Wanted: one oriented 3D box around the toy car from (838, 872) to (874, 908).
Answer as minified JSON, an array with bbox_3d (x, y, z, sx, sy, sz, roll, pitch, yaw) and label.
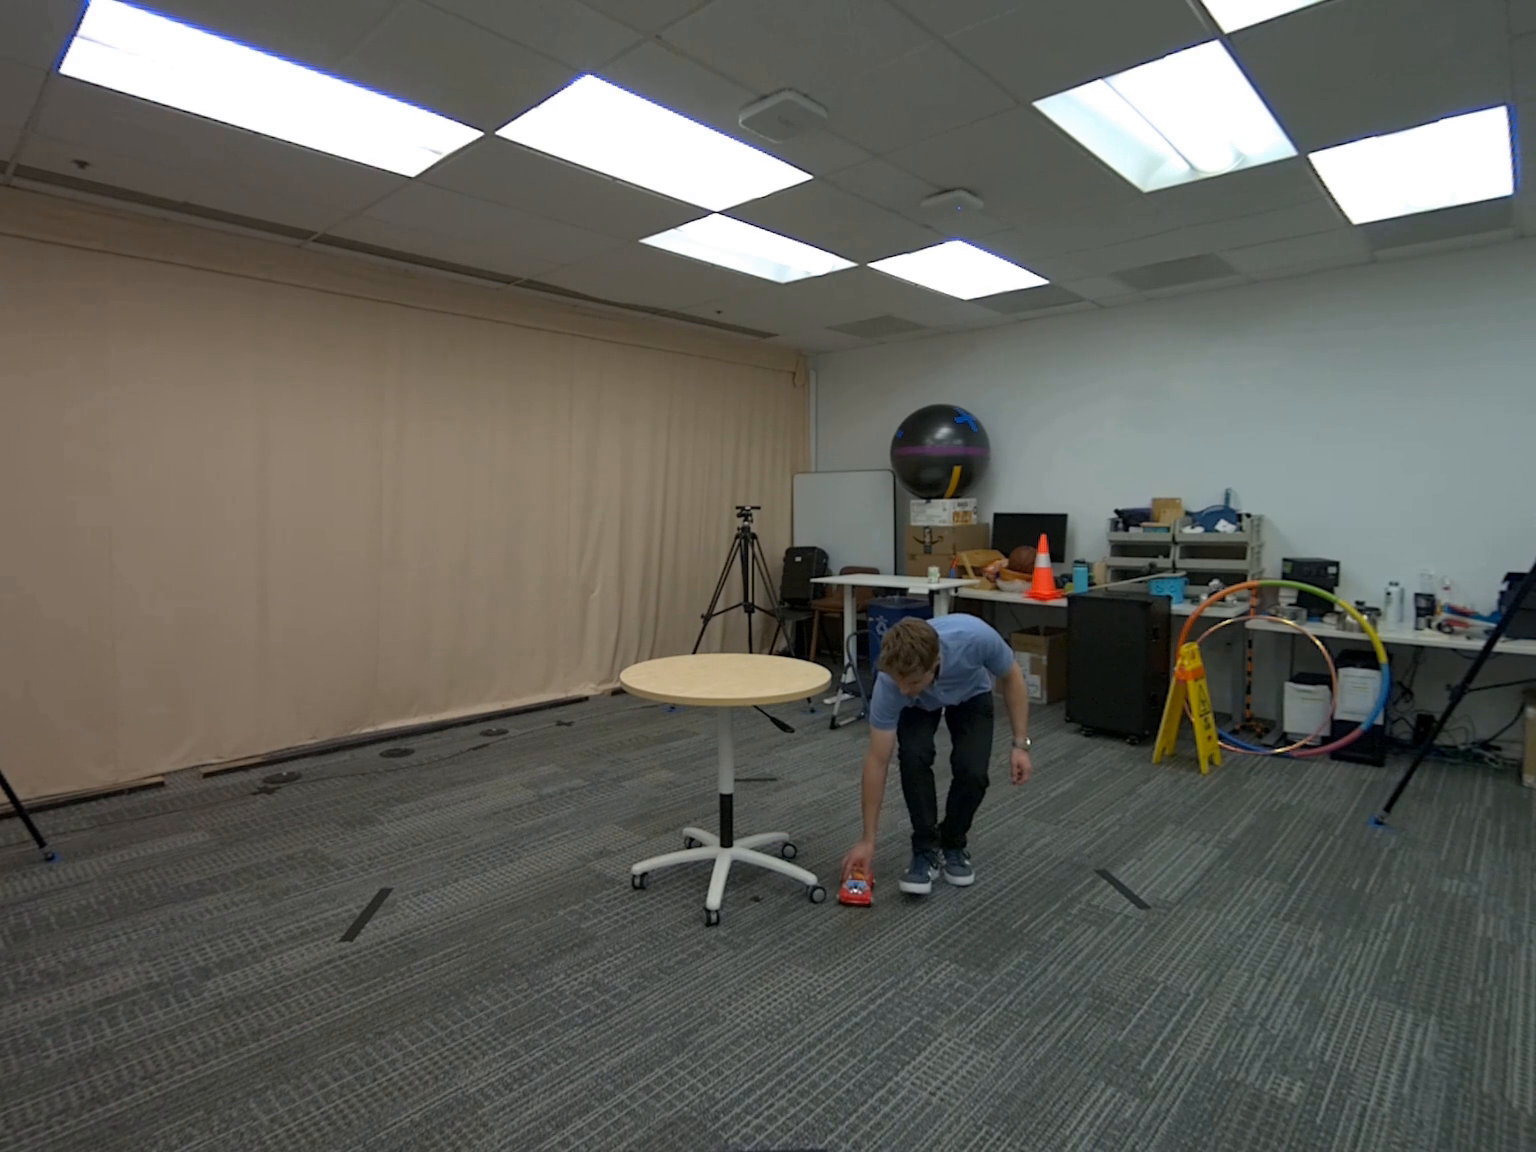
[{"bbox_3d":[0.333,1.116,3.021,0.132,0.082,0.254,-1,16,10],"label":"toy car"}]
